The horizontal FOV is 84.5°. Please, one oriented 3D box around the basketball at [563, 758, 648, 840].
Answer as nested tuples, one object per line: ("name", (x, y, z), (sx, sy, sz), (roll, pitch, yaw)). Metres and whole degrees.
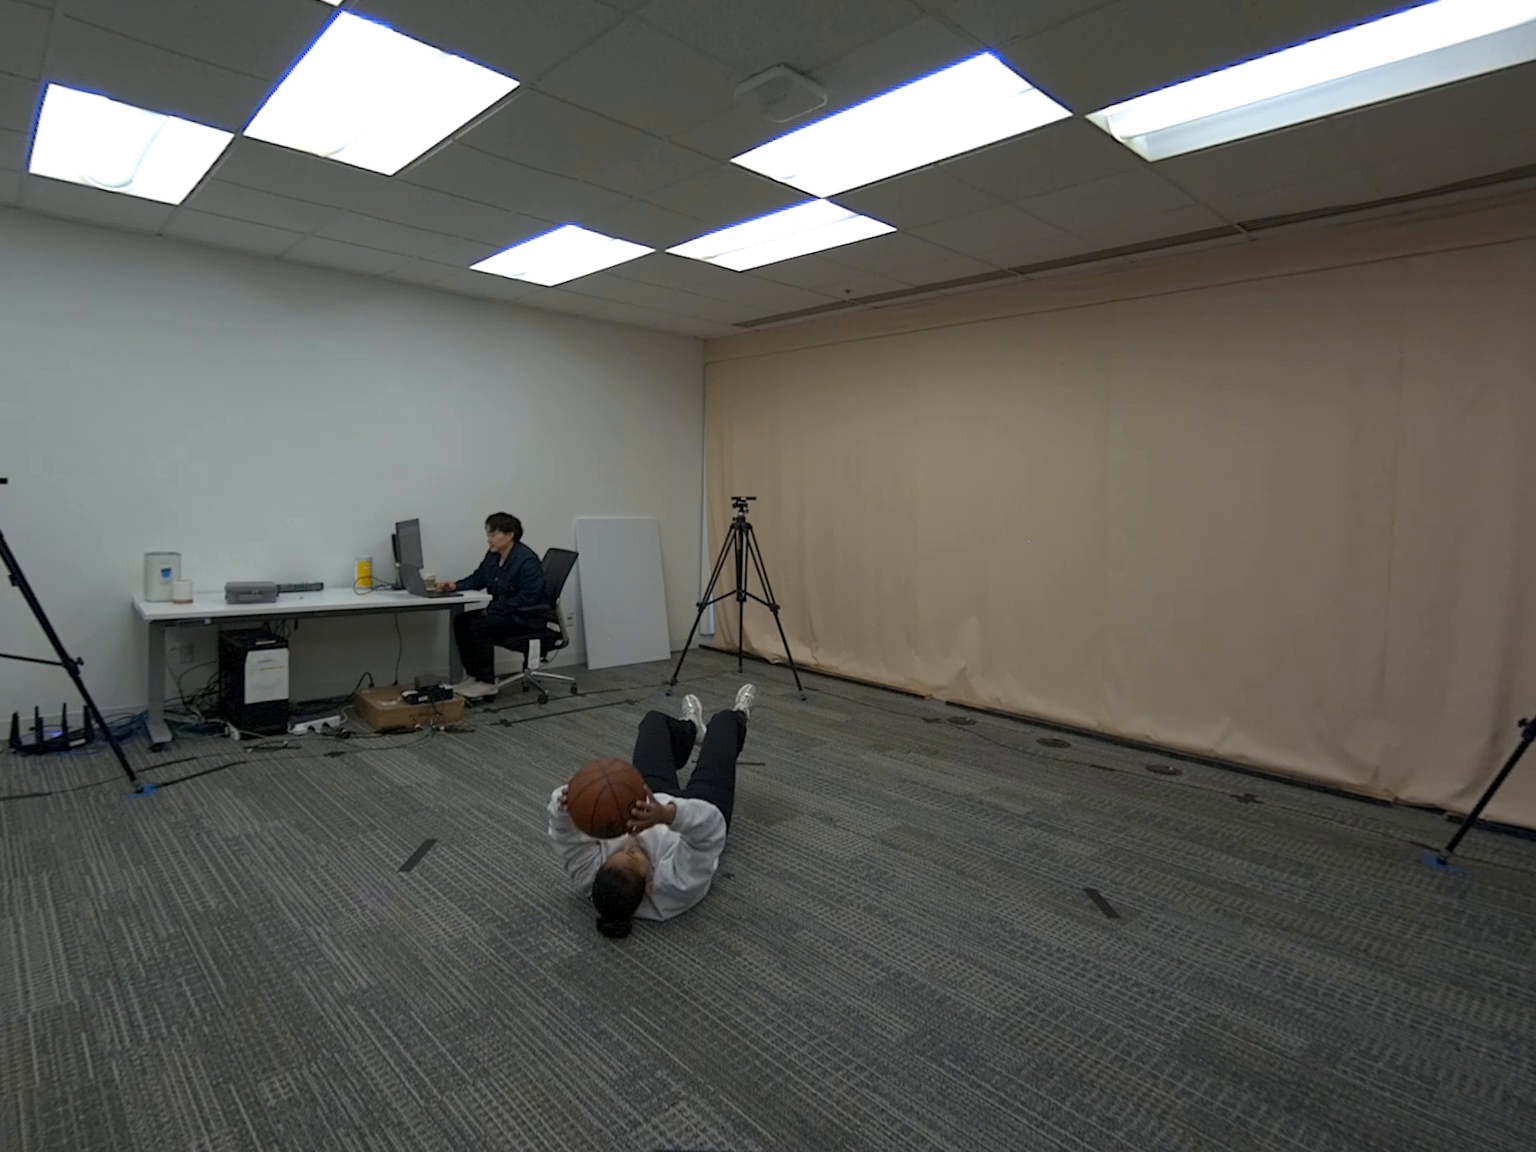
("basketball", (-0.486, 0.673, 2.548), (0.236, 0.235, 0.237), (1, 5, -1))
